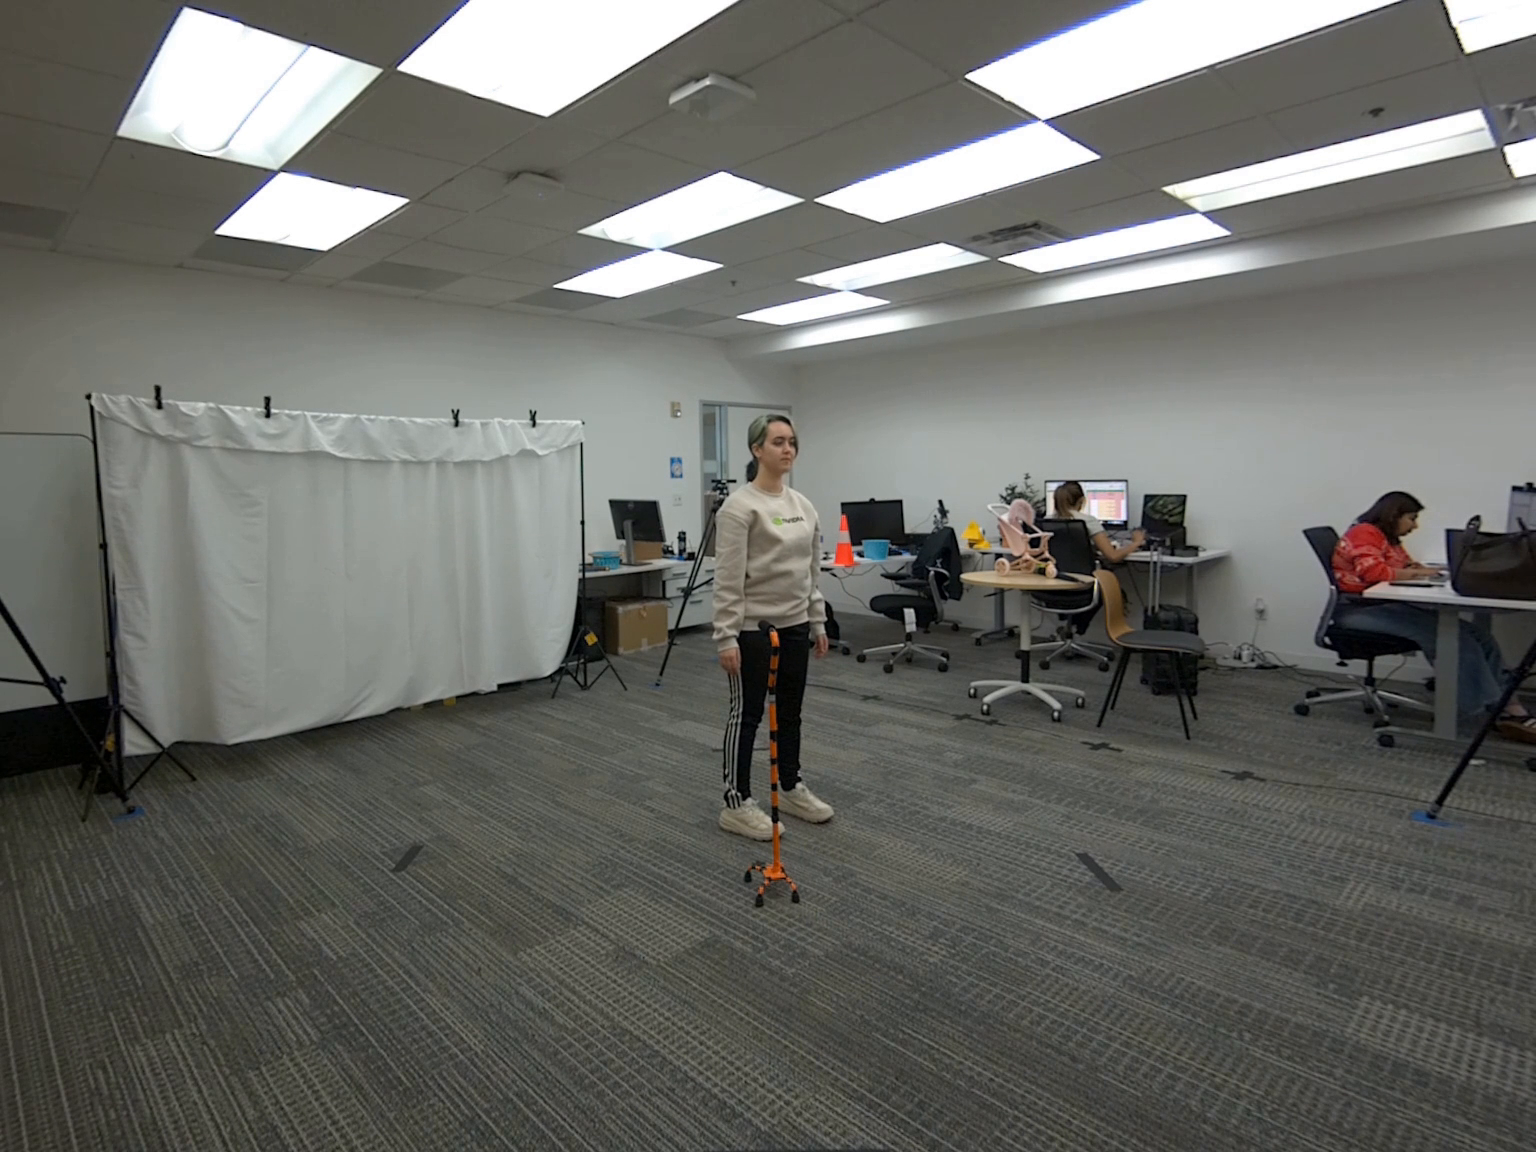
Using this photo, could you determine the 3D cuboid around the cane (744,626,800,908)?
[{"bbox_3d":[0.007,0.624,2.872,0.150,0.904,0.210,-2,5,-12],"label":"cane"}]
